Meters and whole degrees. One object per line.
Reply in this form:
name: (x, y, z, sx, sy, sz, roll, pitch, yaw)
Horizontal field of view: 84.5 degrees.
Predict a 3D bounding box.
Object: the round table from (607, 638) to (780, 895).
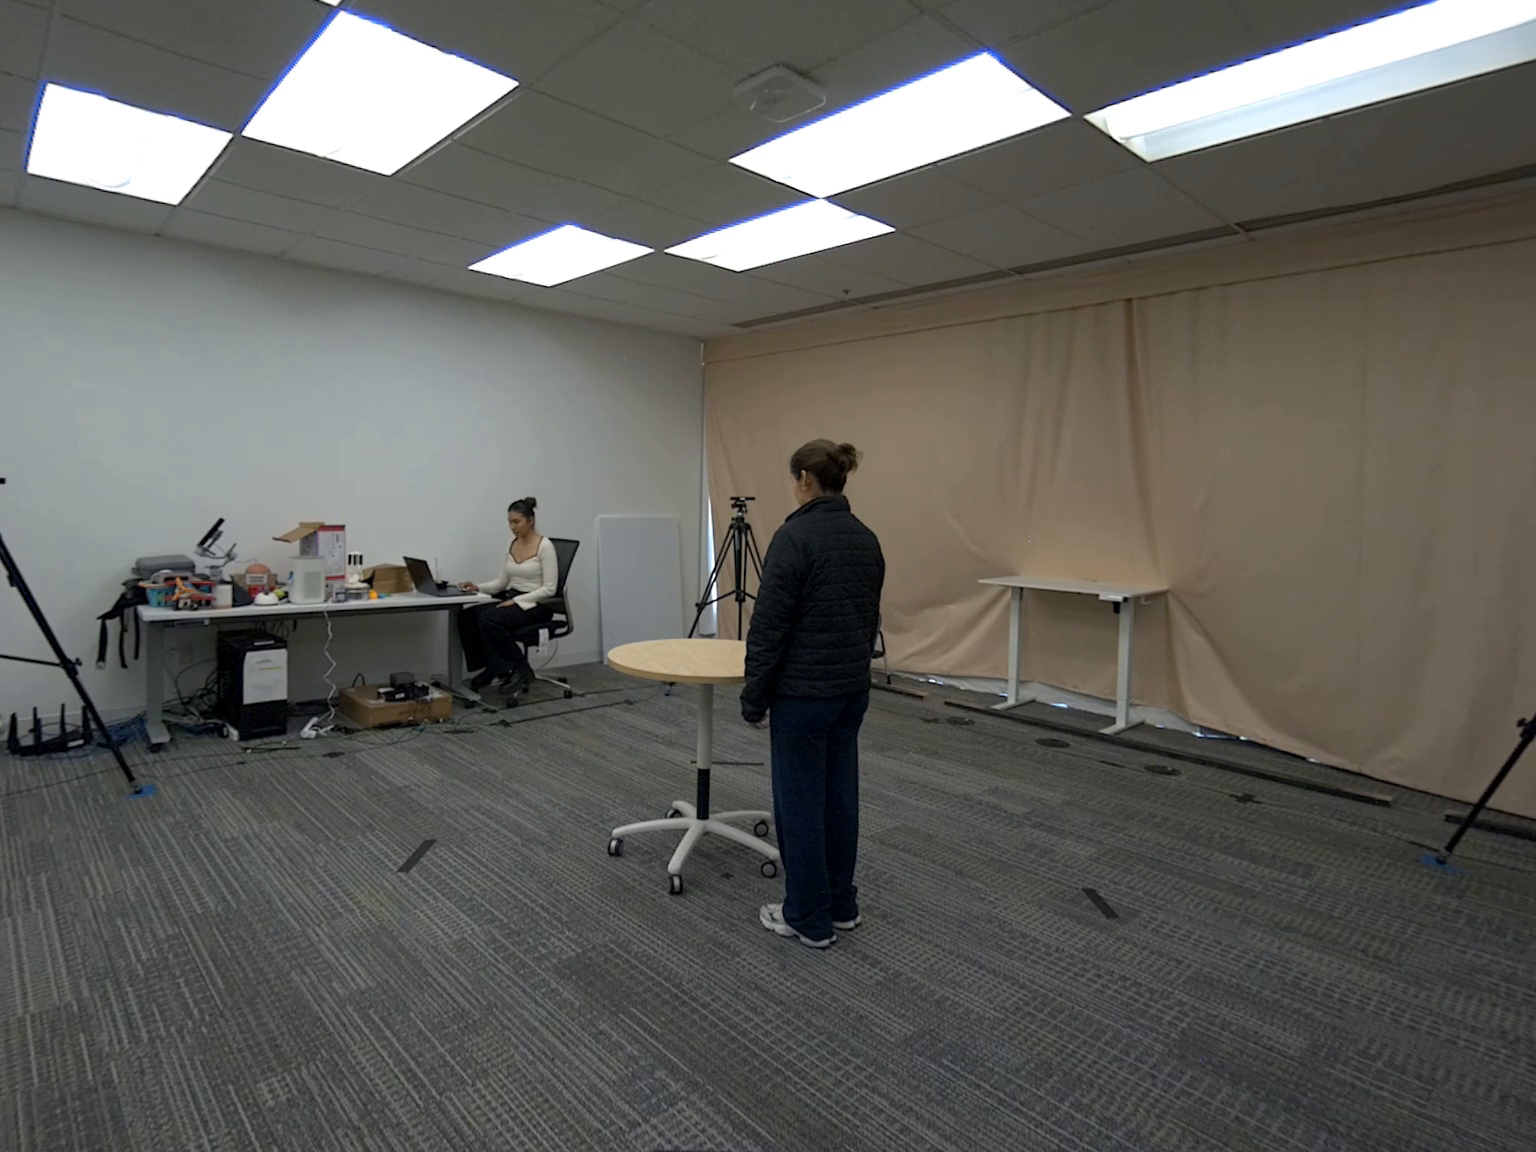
round table: (-0.246, 0.700, 3.246, 0.784, 0.784, 0.788, 1, 4, -1)
